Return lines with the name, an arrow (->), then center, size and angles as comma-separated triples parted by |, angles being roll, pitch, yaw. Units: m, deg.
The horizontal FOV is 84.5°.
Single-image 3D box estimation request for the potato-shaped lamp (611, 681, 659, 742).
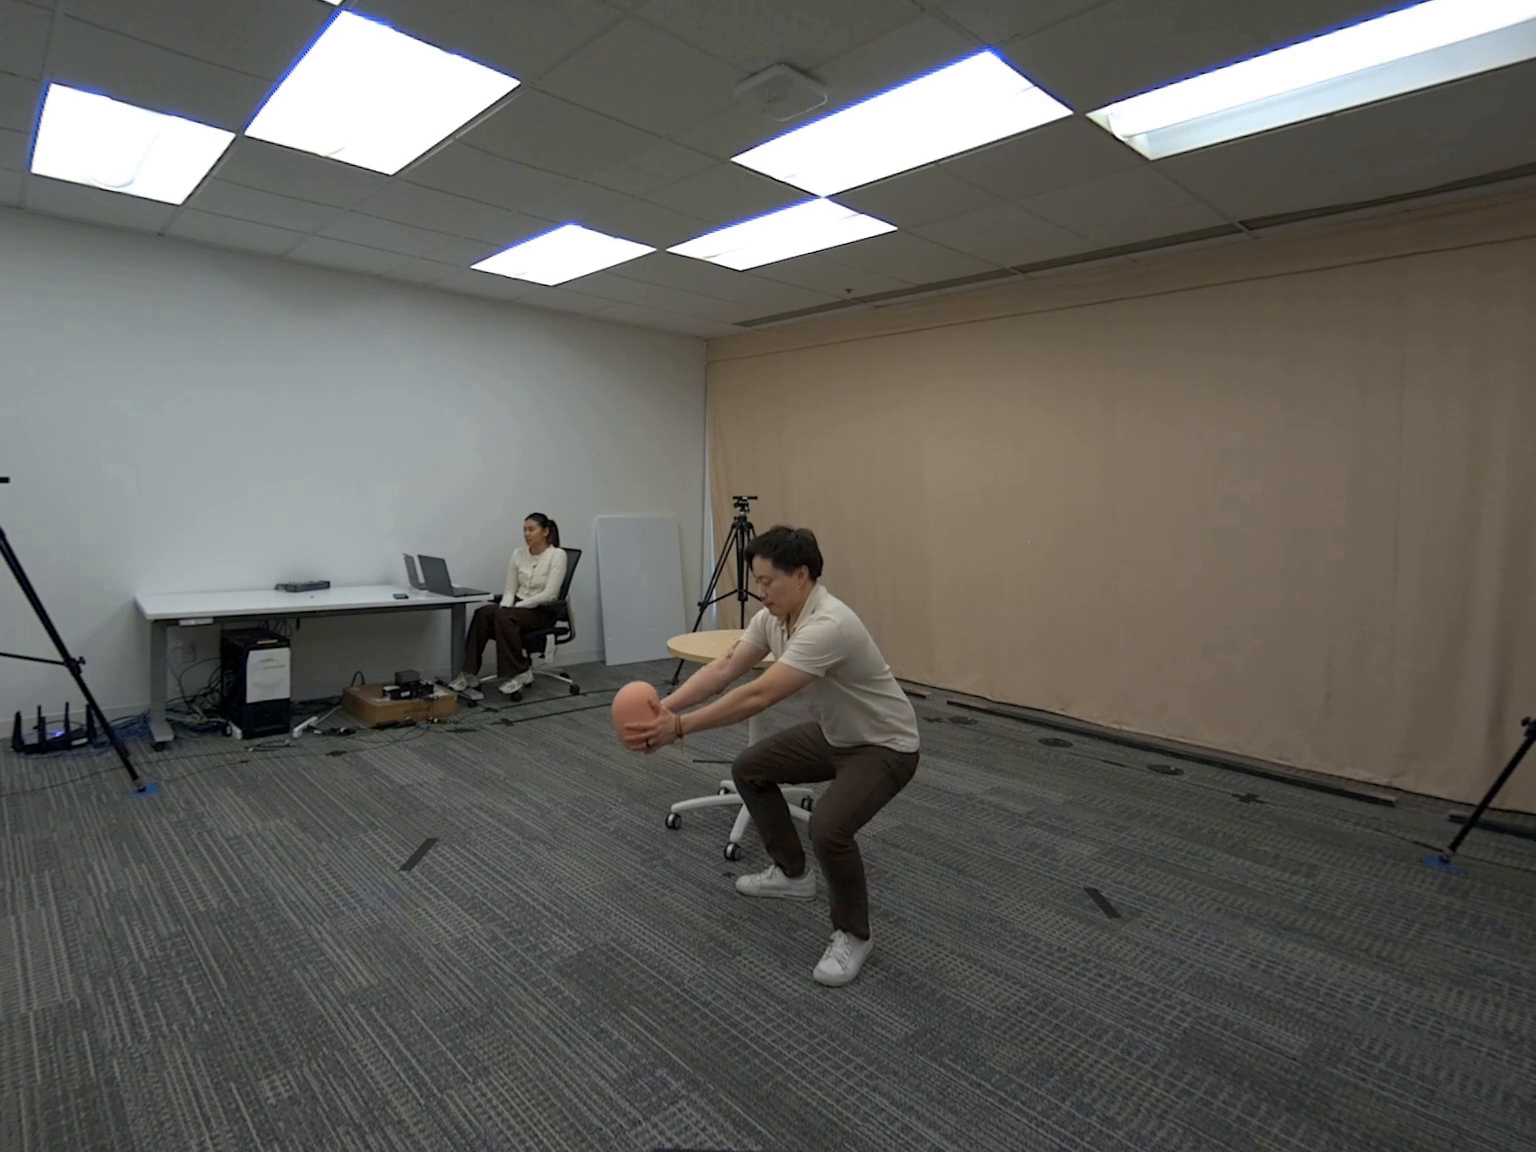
potato-shaped lamp -> -0.373, 0.407, 2.492 | 0.169, 0.197, 0.168 | -8, 9, -17
